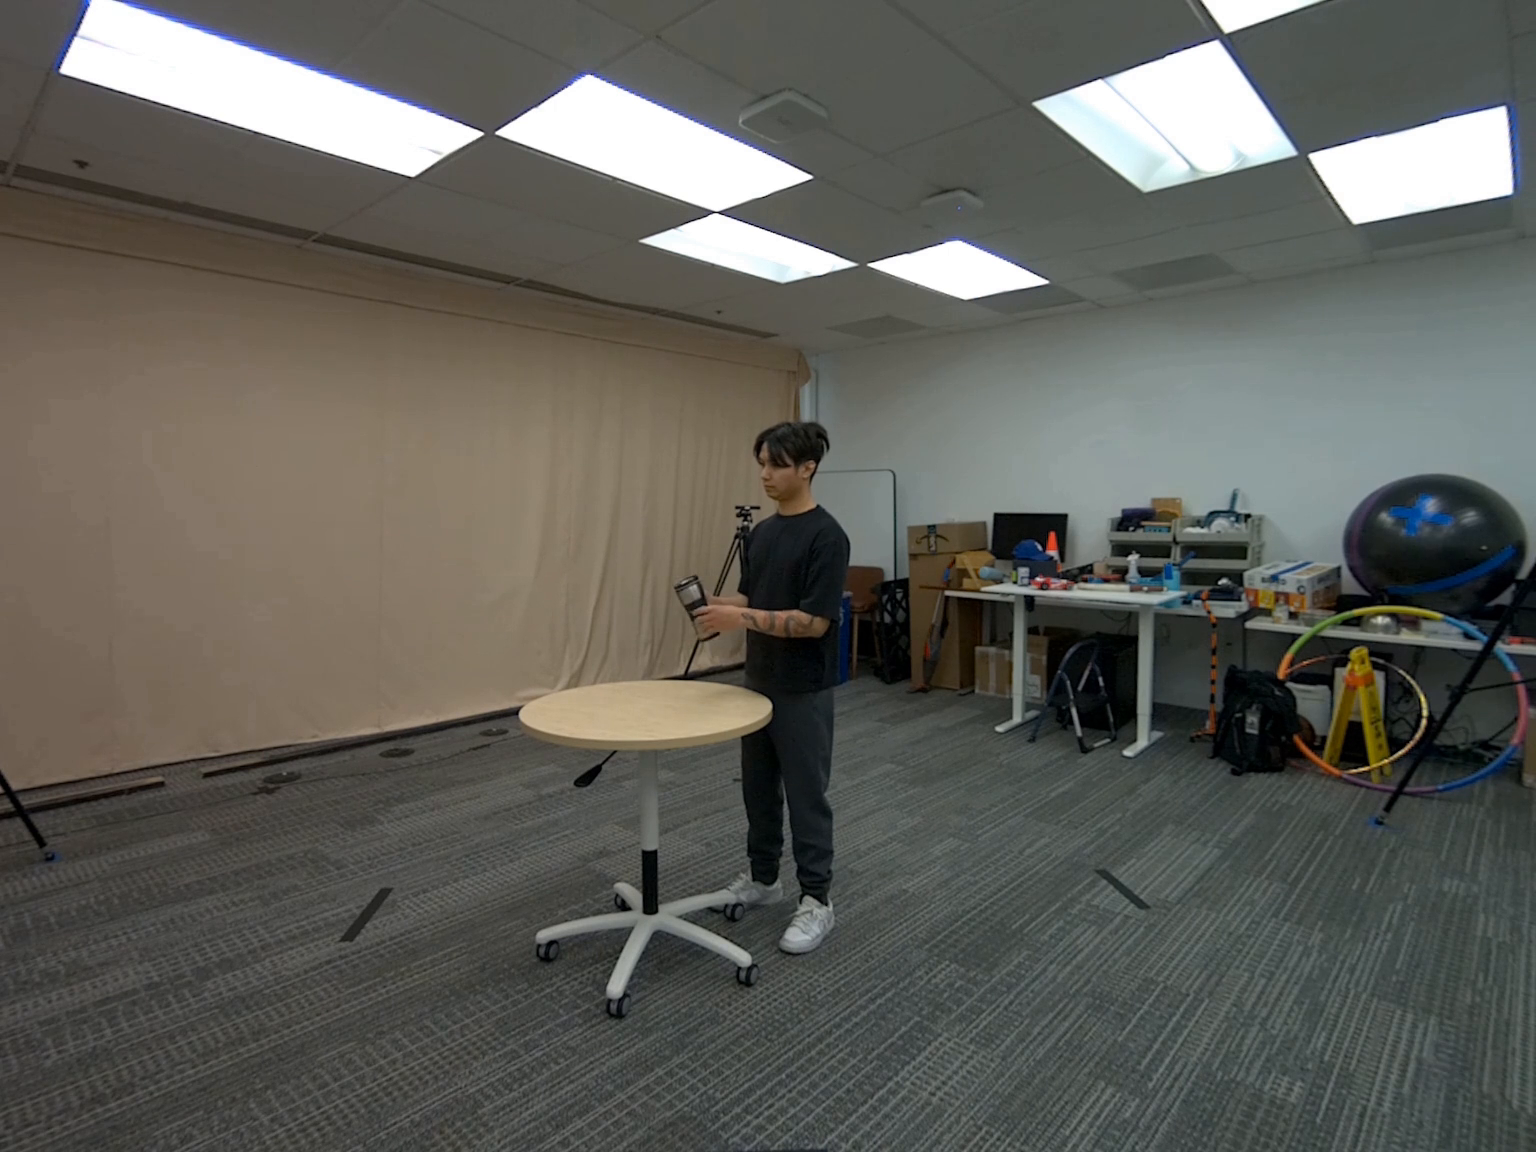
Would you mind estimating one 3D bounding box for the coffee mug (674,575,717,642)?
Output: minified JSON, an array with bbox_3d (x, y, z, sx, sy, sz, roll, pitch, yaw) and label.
[{"bbox_3d":[-0.214,0.103,2.713,0.090,0.202,0.120,-23,5,36],"label":"coffee mug"}]
